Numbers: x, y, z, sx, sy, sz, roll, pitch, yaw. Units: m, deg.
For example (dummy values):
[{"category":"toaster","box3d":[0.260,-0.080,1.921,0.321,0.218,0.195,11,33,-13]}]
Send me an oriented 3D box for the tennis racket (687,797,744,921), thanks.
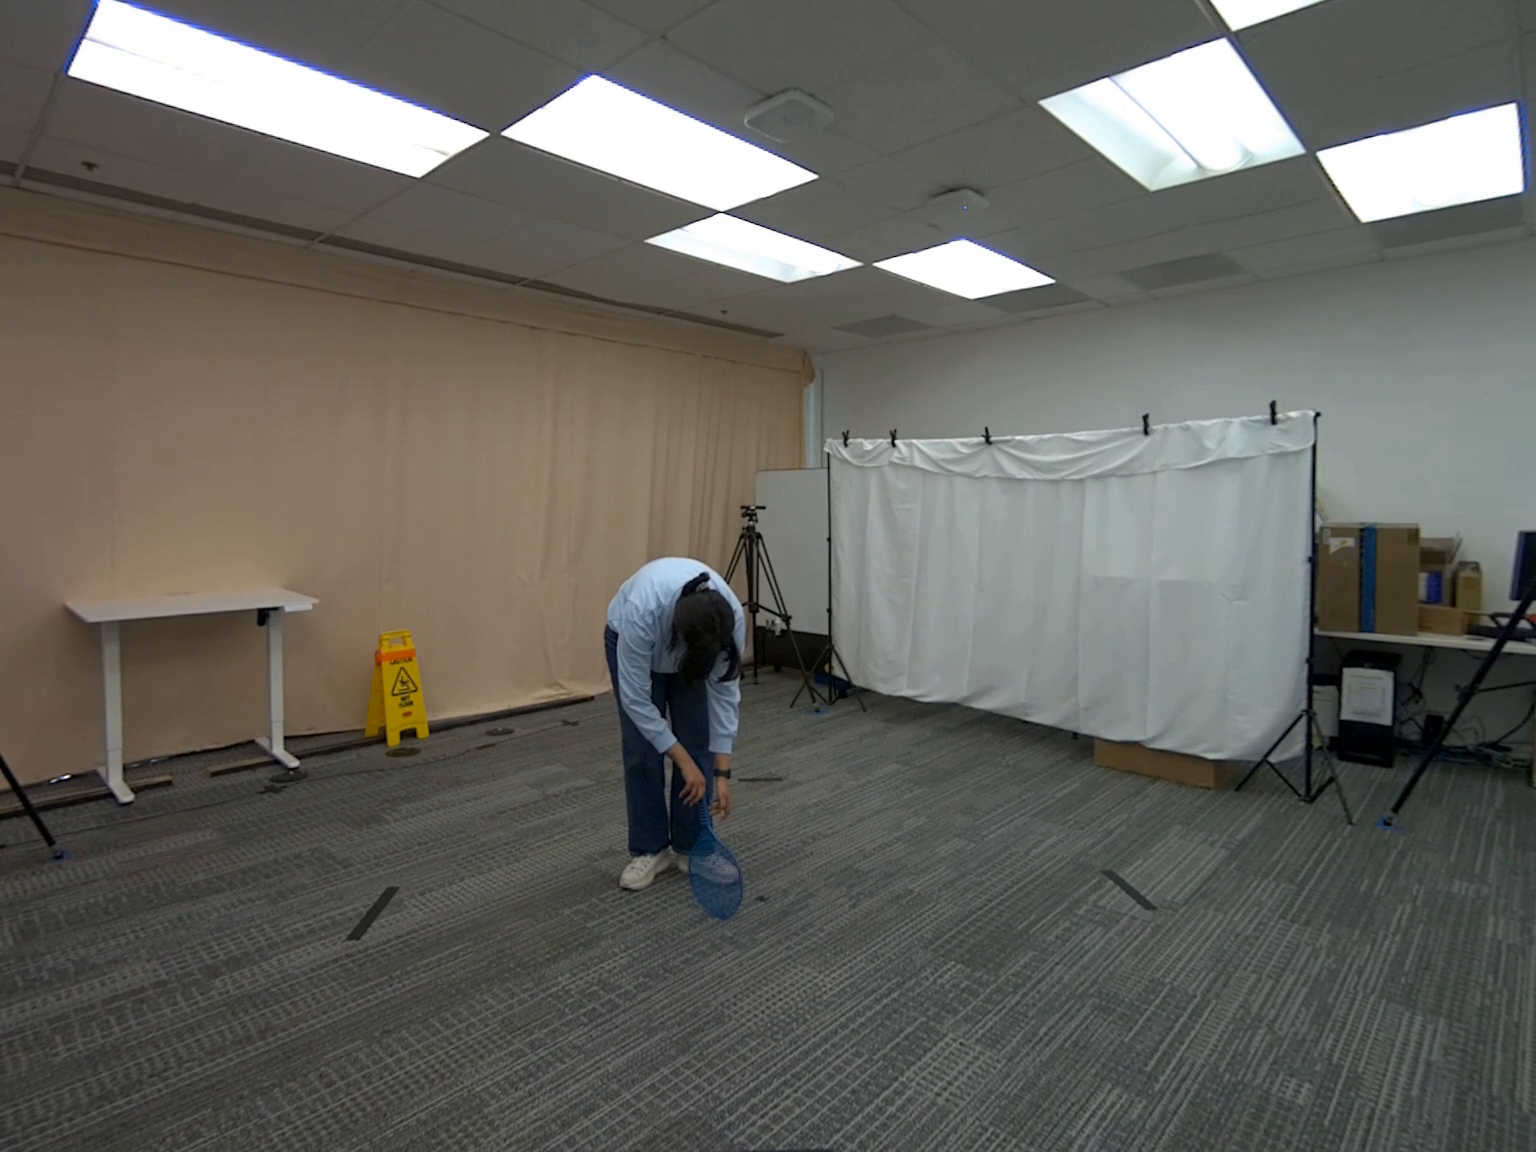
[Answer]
[{"category":"tennis racket","box3d":[-0.186,0.942,2.863,0.219,0.435,0.031,-12,-7,30]}]
